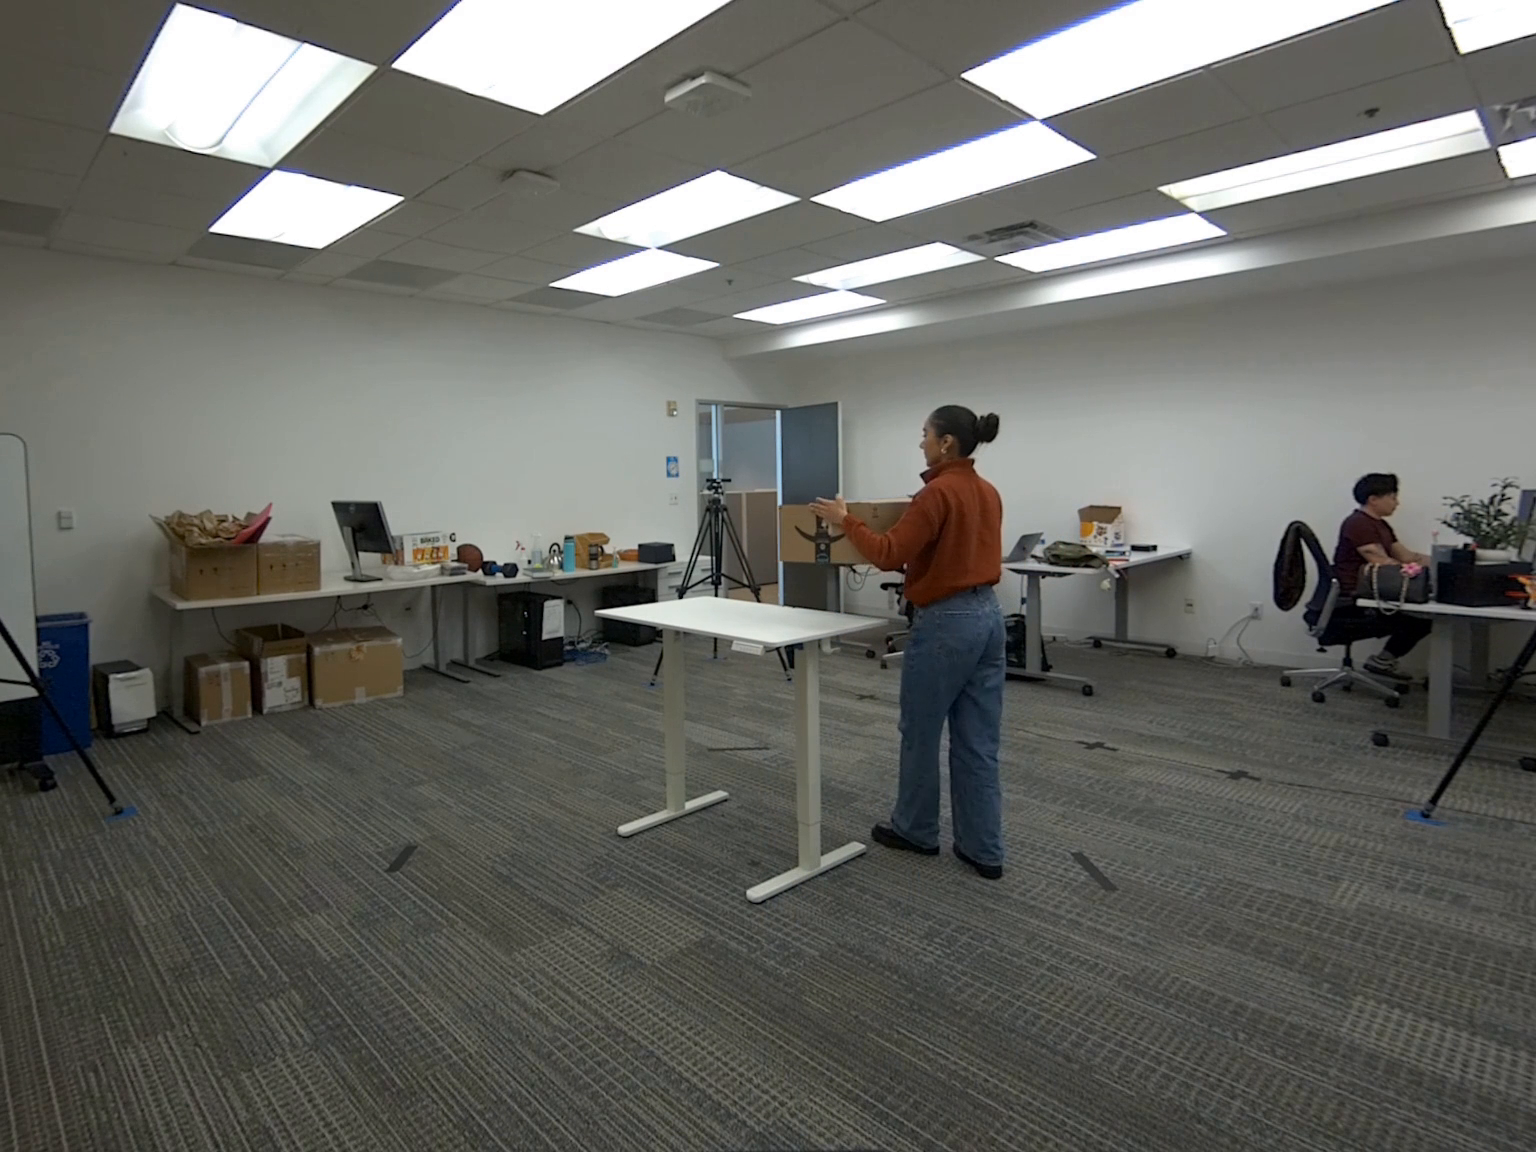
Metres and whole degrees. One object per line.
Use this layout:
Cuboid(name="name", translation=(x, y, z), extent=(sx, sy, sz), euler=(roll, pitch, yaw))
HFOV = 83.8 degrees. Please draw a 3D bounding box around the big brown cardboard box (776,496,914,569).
Cuboid(name="big brown cardboard box", translation=(0.383, -0.181, 3.293), extent=(0.430, 0.232, 0.574), euler=(1, 7, 41))
